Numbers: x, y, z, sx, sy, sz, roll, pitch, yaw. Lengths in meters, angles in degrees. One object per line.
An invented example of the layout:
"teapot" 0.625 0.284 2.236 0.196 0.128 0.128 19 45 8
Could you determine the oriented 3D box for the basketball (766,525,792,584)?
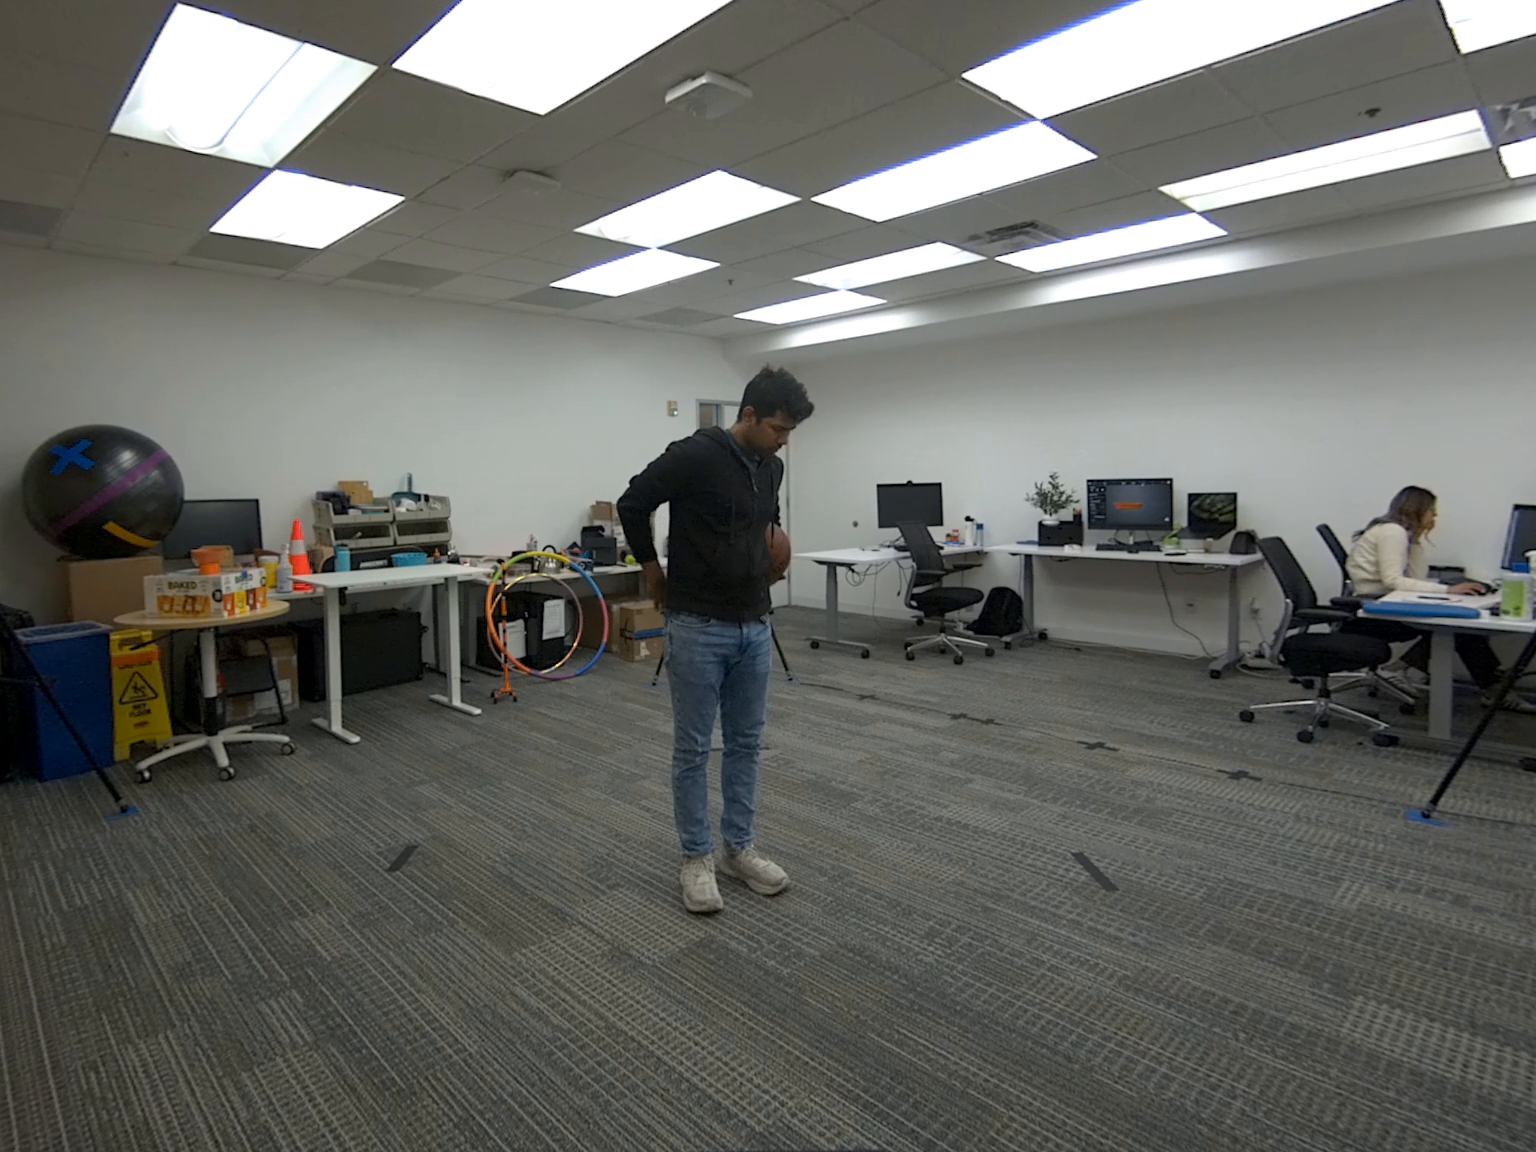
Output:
"basketball" -0.030 -0.089 3.091 0.236 0.235 0.237 -1 5 -2
